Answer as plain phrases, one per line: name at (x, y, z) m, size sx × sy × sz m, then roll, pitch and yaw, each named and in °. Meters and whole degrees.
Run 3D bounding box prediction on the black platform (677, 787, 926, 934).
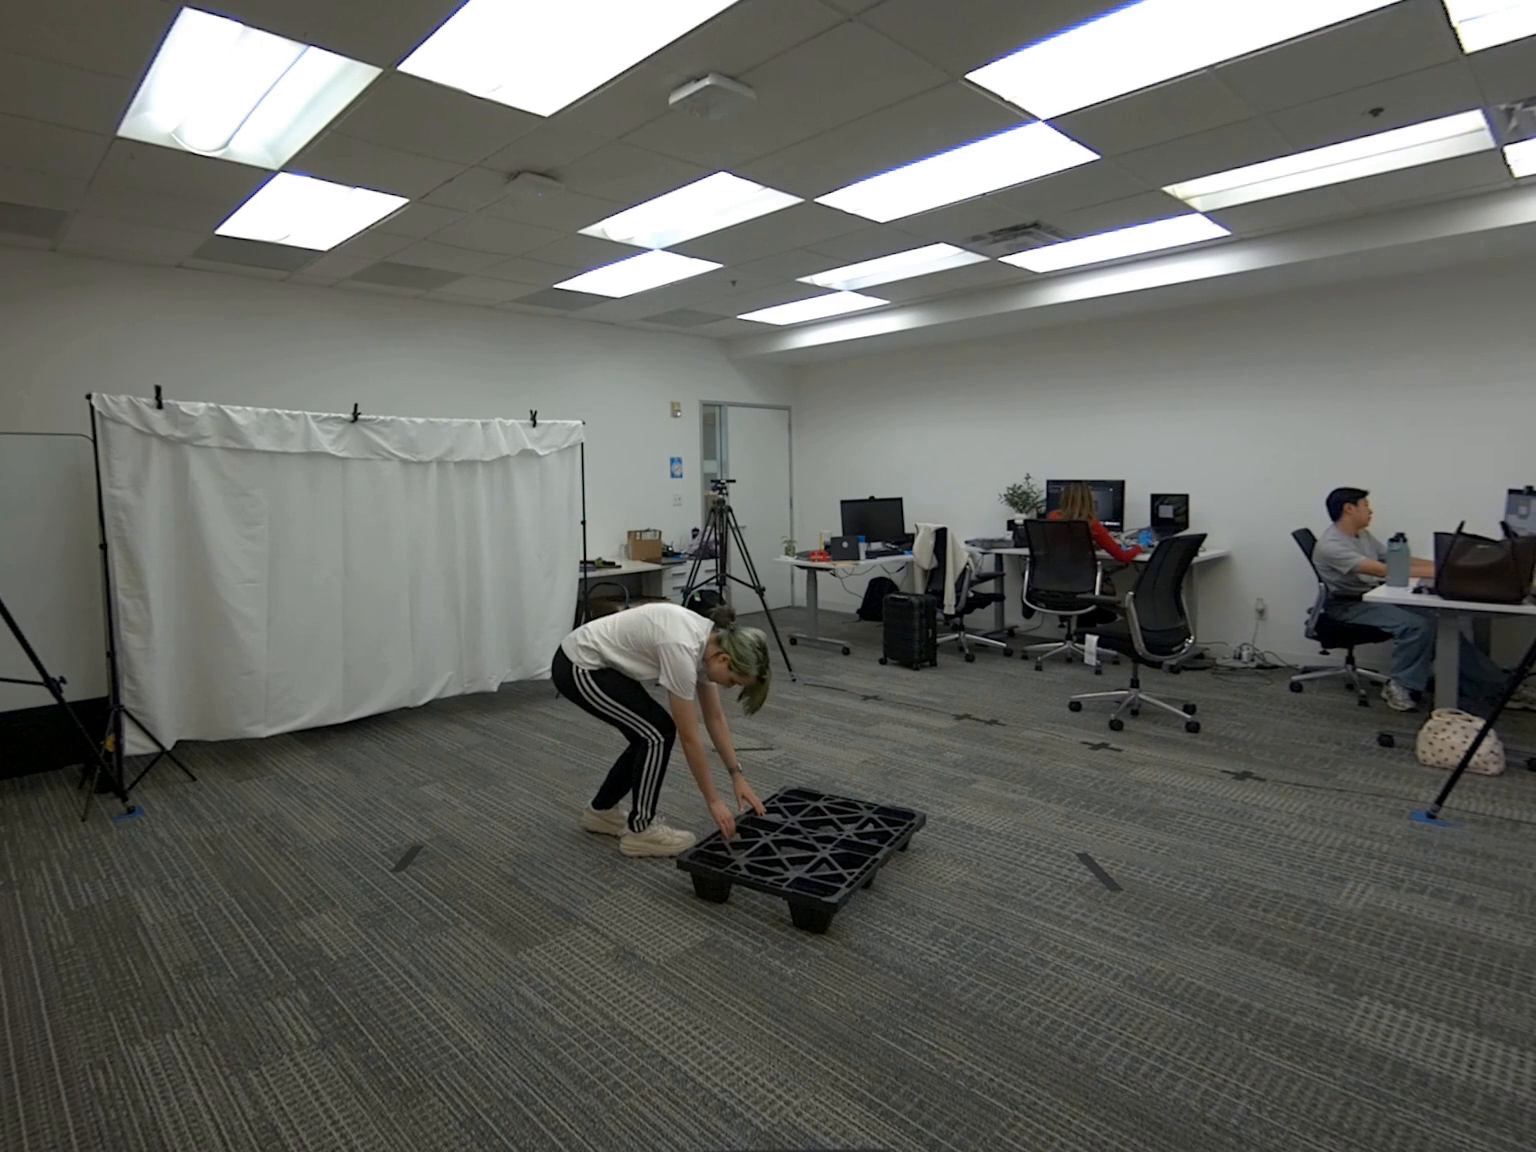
black platform at (0.138, 0.985, 3.038) m, size 0.621 × 0.143 × 0.787 m, roll 2°, pitch 7°, yaw 31°
